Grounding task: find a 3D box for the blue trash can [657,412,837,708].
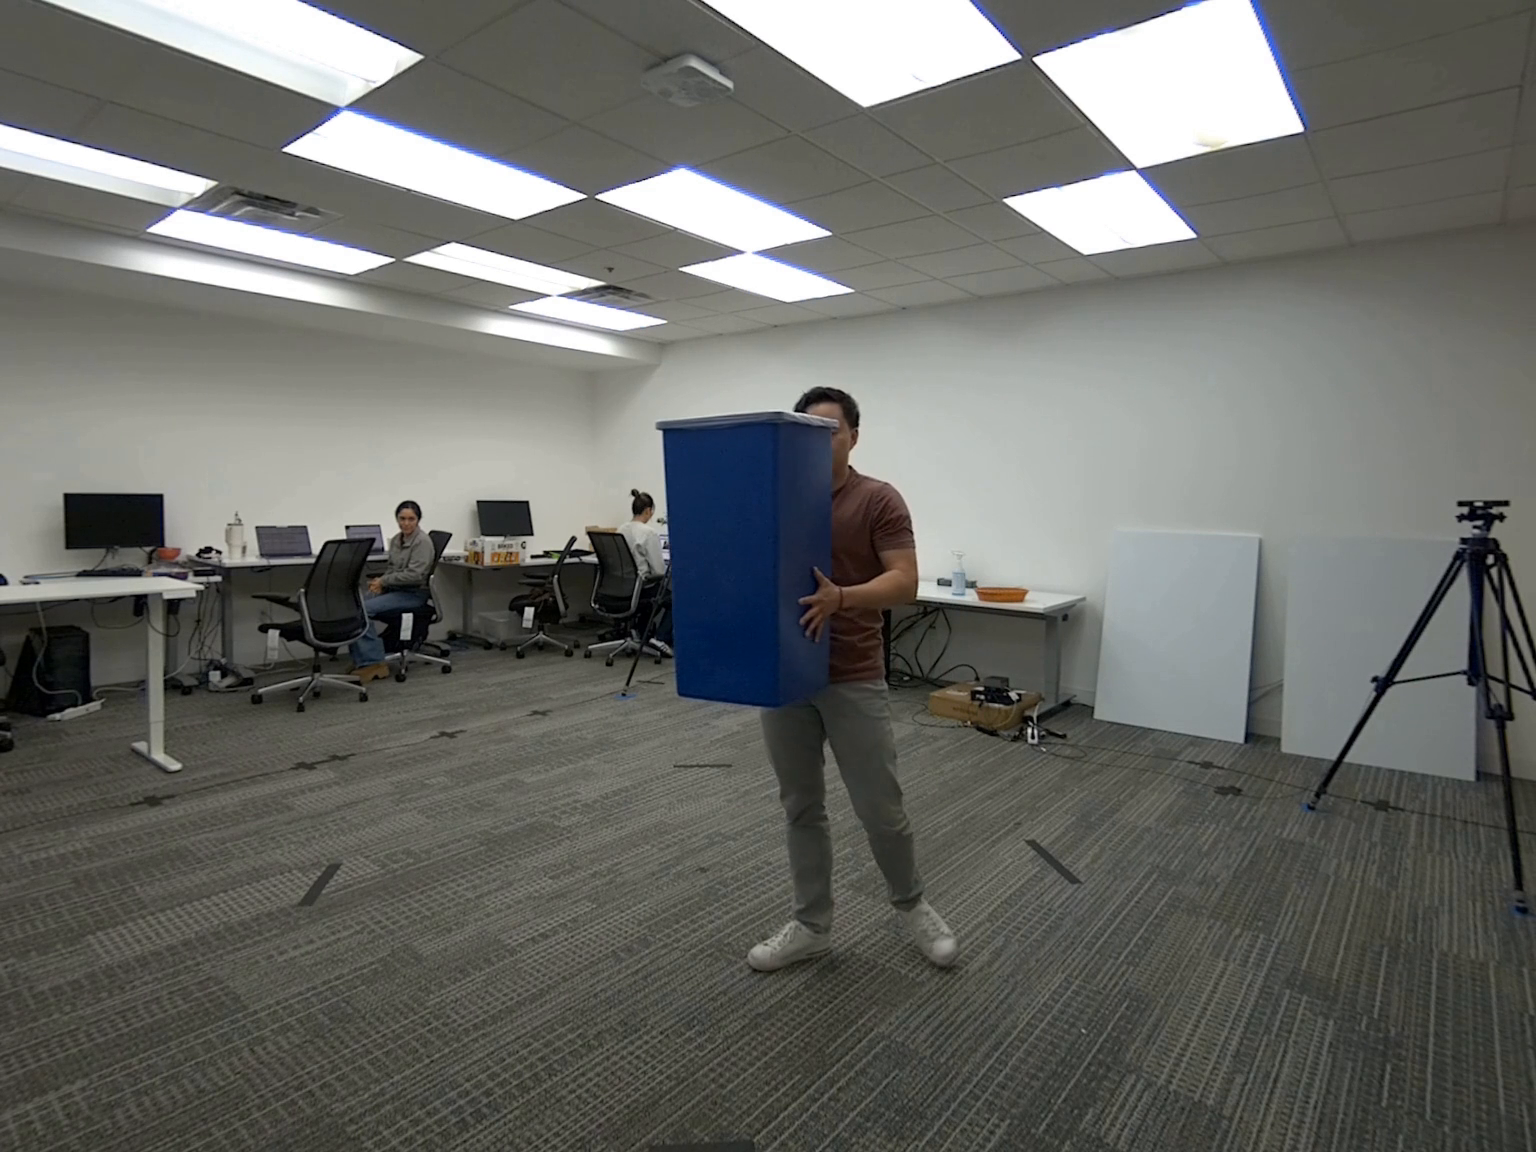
[{"bbox_3d":[-0.045,-0.053,2.227,0.388,0.713,0.364,-1,1,30],"label":"blue trash can"}]
